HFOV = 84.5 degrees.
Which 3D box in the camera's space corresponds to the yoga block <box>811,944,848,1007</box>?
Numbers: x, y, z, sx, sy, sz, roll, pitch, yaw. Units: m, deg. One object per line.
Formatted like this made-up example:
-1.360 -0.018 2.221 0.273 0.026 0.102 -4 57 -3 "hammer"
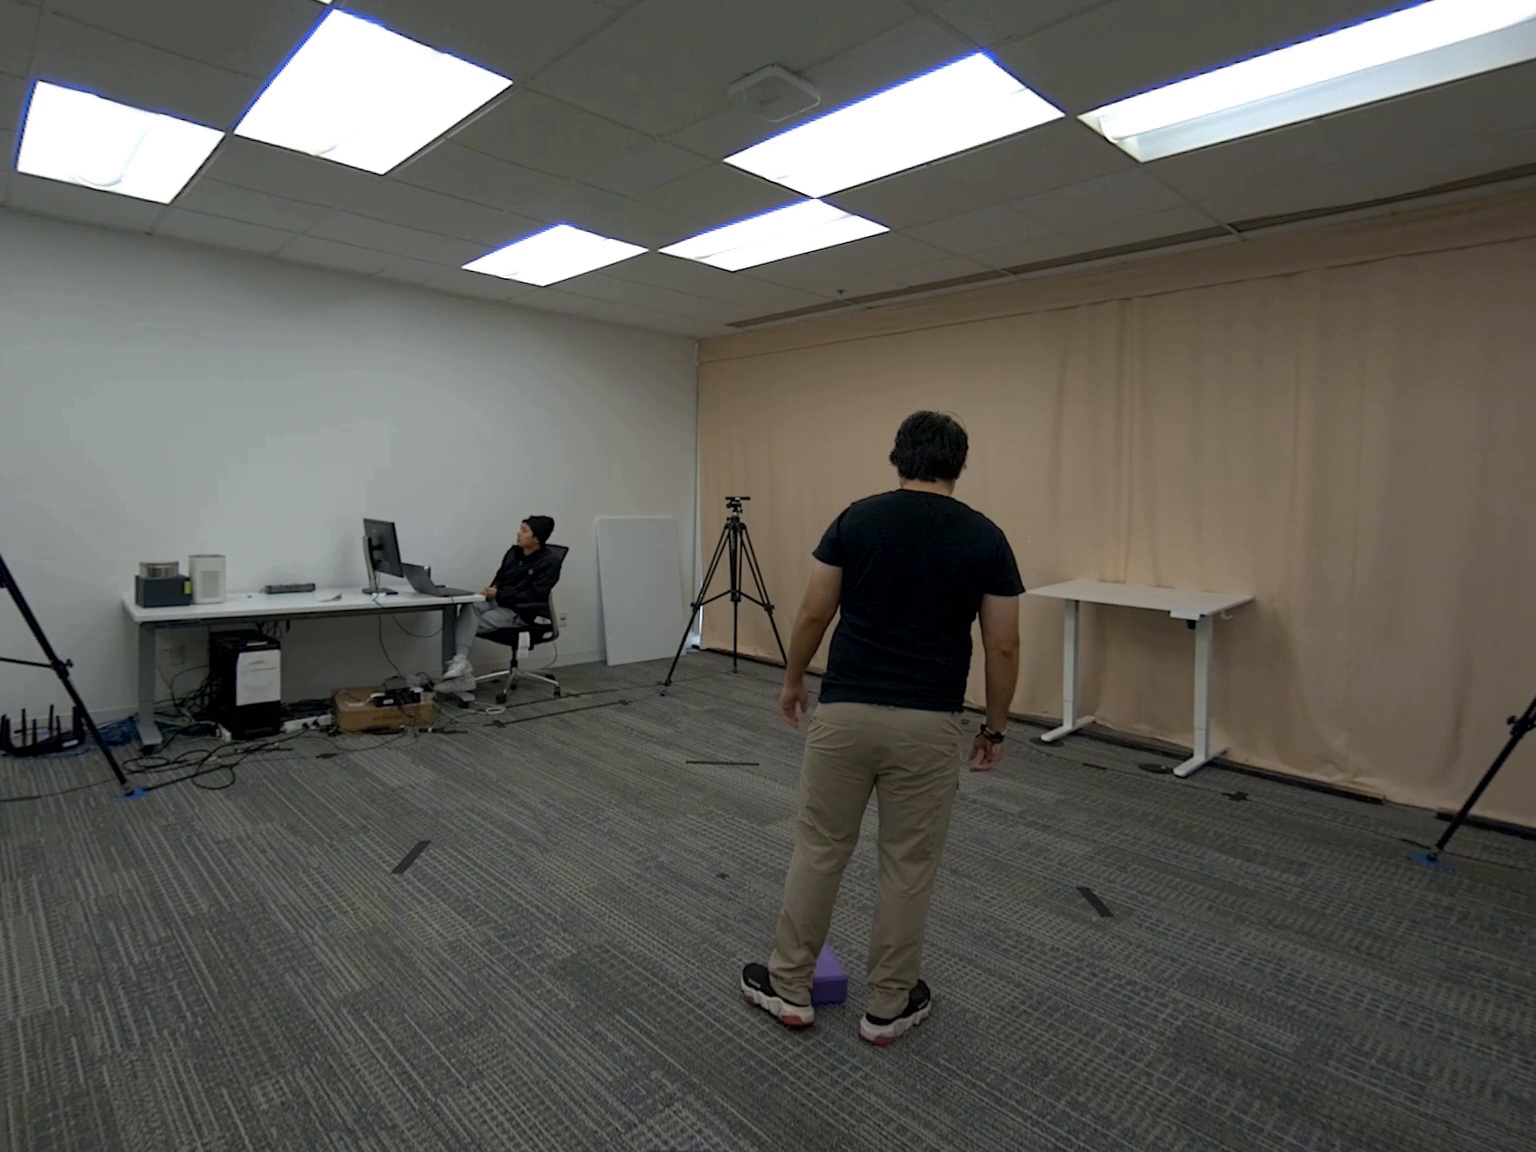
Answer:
0.119 1.140 2.428 0.147 0.076 0.232 1 5 -12 "yoga block"
